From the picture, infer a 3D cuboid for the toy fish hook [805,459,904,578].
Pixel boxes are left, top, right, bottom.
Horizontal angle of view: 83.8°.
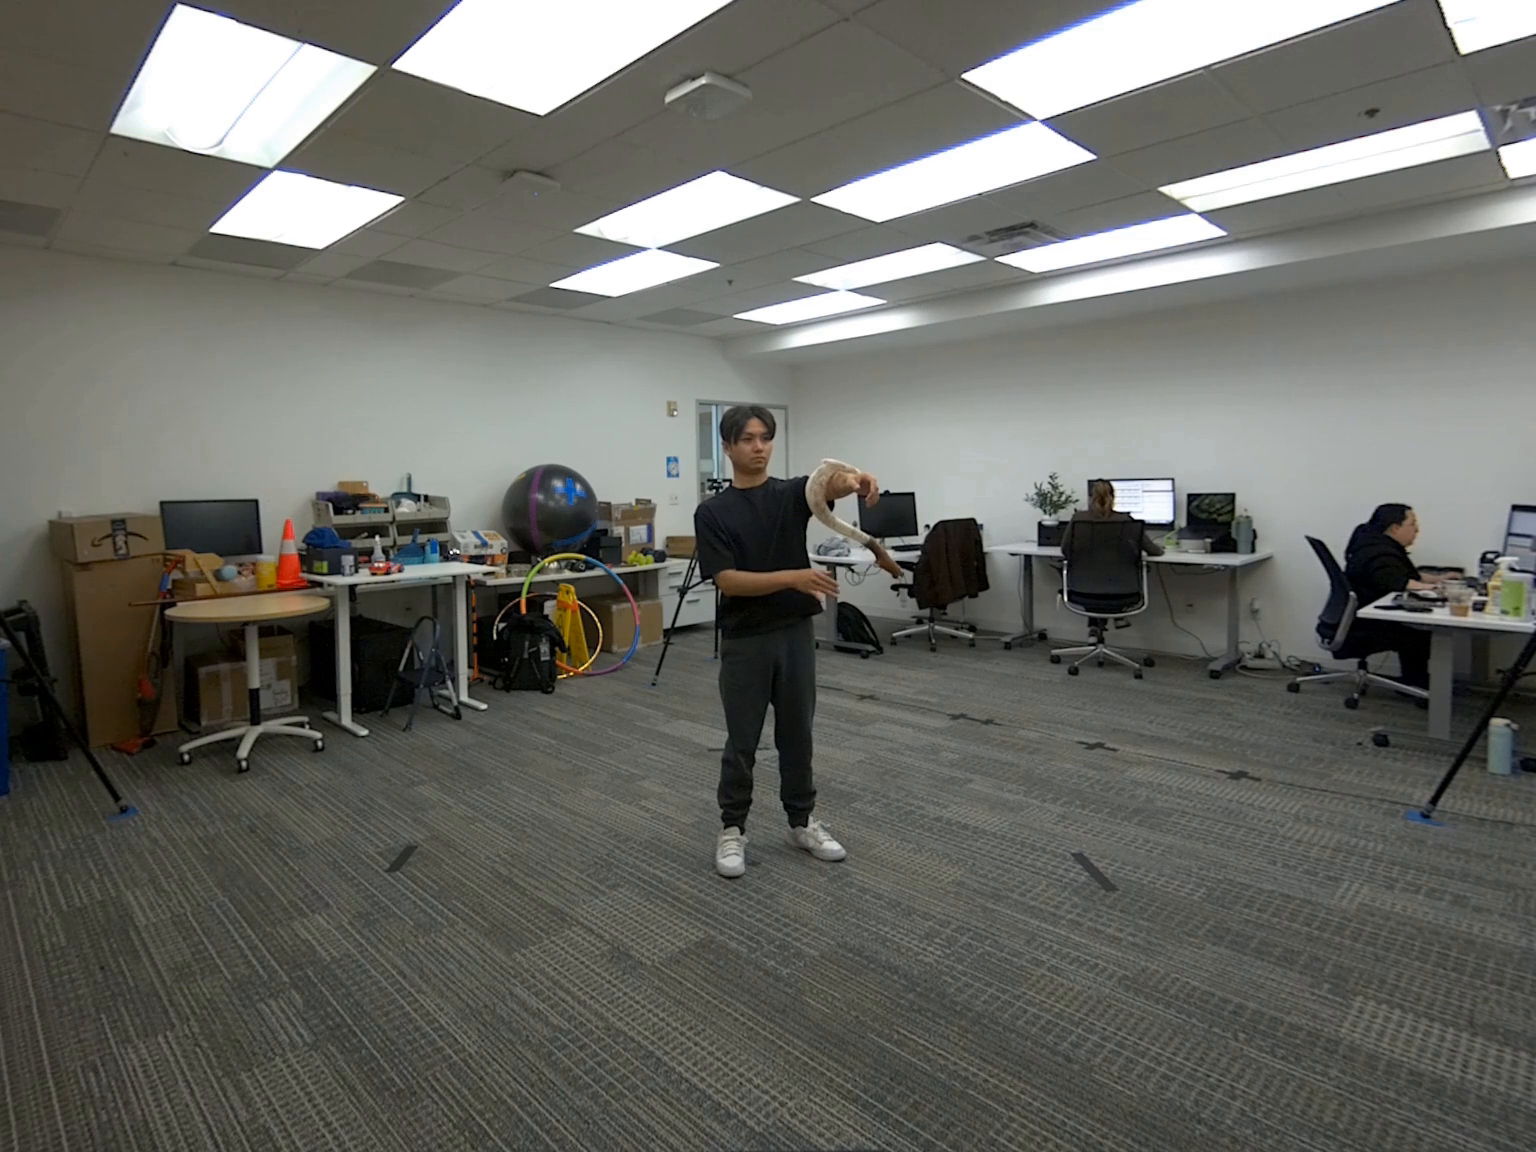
[{"bbox_3d":[0.311,-0.182,2.854,0.492,0.225,0.050,44,-11,-24],"label":"toy fish hook"}]
